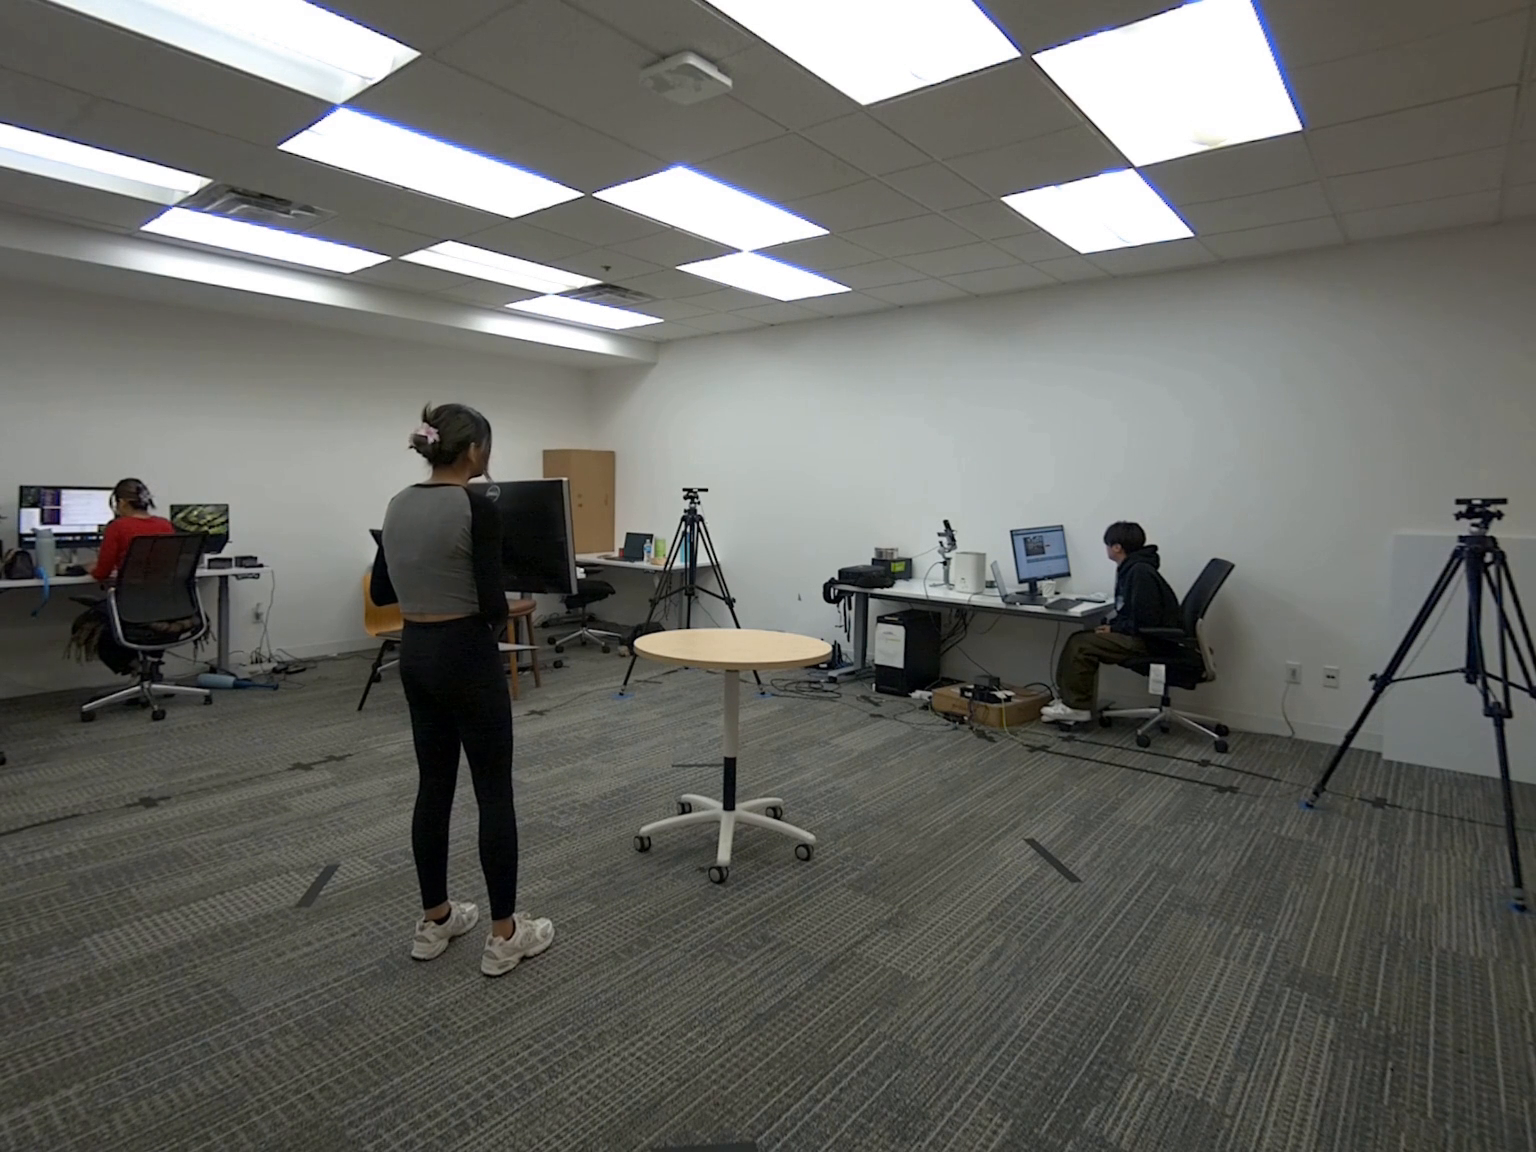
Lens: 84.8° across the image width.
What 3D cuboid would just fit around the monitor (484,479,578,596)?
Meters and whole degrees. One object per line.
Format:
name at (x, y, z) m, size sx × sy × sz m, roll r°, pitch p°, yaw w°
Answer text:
monitor at (-0.877, -0.037, 2.718) m, size 0.553 × 0.524 × 0.181 m, roll 1°, pitch -3°, yaw 28°
